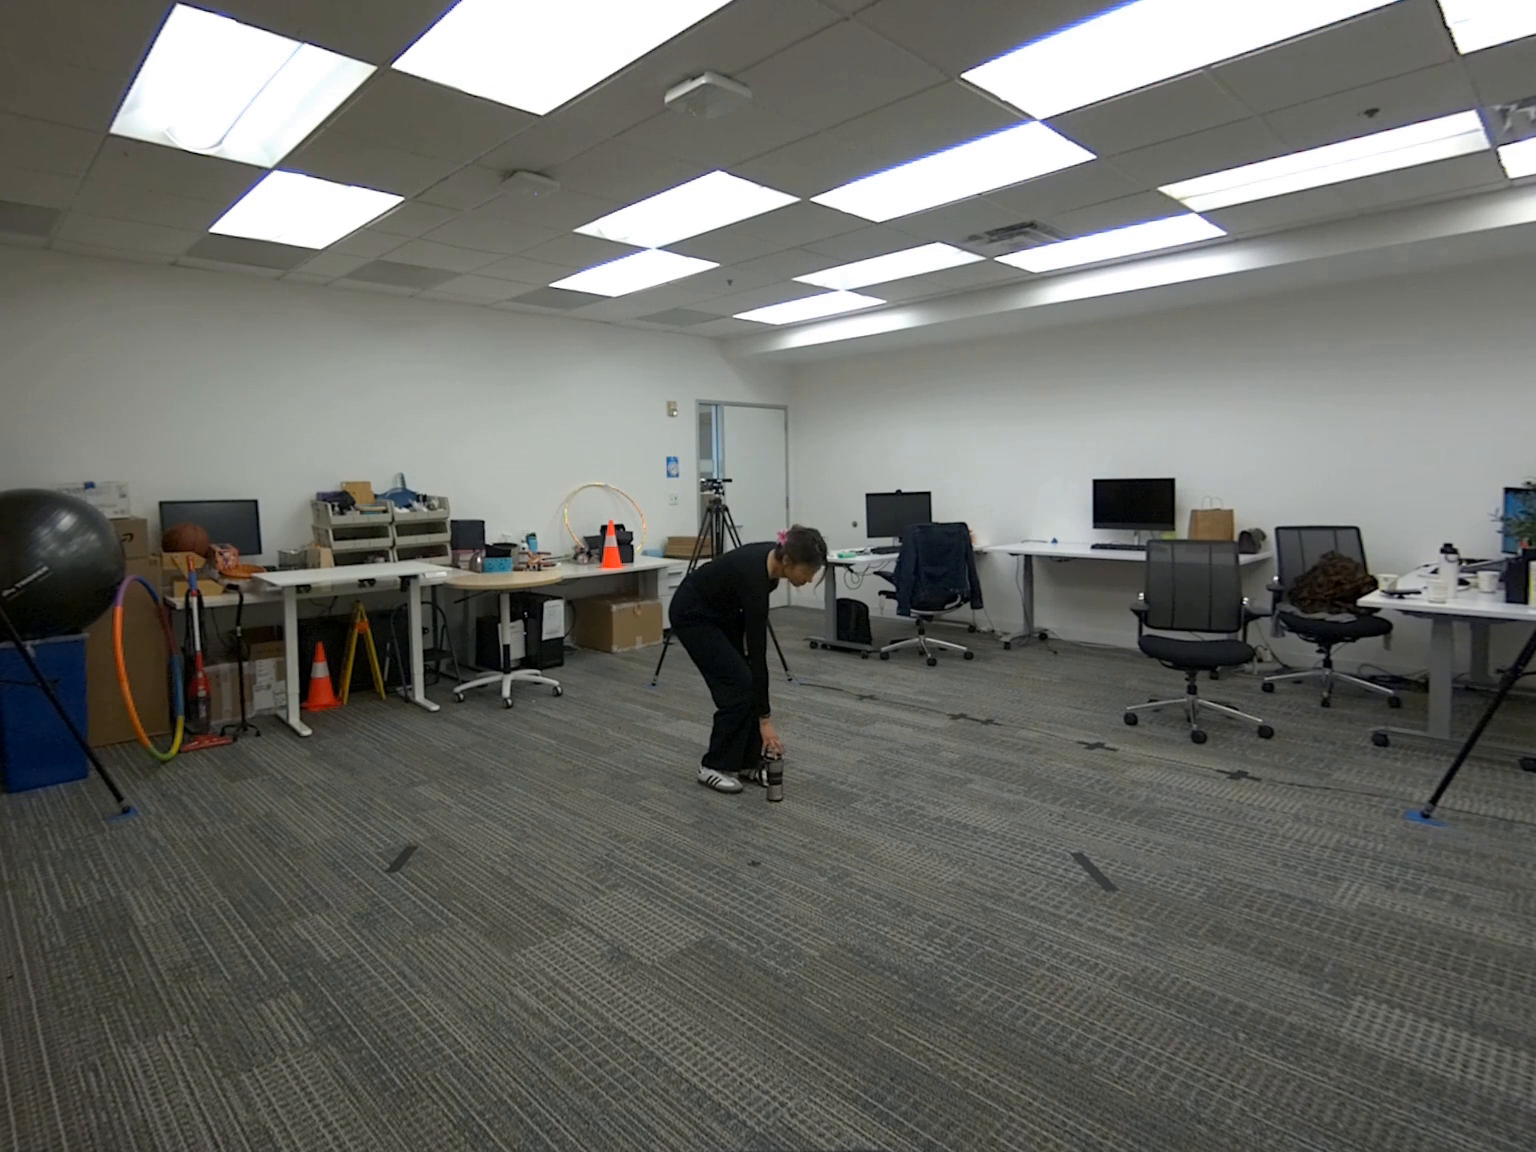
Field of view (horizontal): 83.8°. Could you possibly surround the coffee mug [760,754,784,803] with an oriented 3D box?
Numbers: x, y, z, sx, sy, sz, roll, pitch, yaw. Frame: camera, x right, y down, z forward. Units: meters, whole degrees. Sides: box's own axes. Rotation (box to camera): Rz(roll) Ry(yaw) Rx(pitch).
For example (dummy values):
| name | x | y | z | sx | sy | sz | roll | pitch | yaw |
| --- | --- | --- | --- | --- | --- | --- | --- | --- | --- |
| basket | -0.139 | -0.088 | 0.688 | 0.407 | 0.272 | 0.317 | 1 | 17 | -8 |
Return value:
| name | x | y | z | sx | sy | sz | roll | pitch | yaw |
| --- | --- | --- | --- | --- | --- | --- | --- | --- | --- |
| coffee mug | 0.009 | 0.880 | 3.722 | 0.120 | 0.202 | 0.089 | 1 | 5 | -12 |
